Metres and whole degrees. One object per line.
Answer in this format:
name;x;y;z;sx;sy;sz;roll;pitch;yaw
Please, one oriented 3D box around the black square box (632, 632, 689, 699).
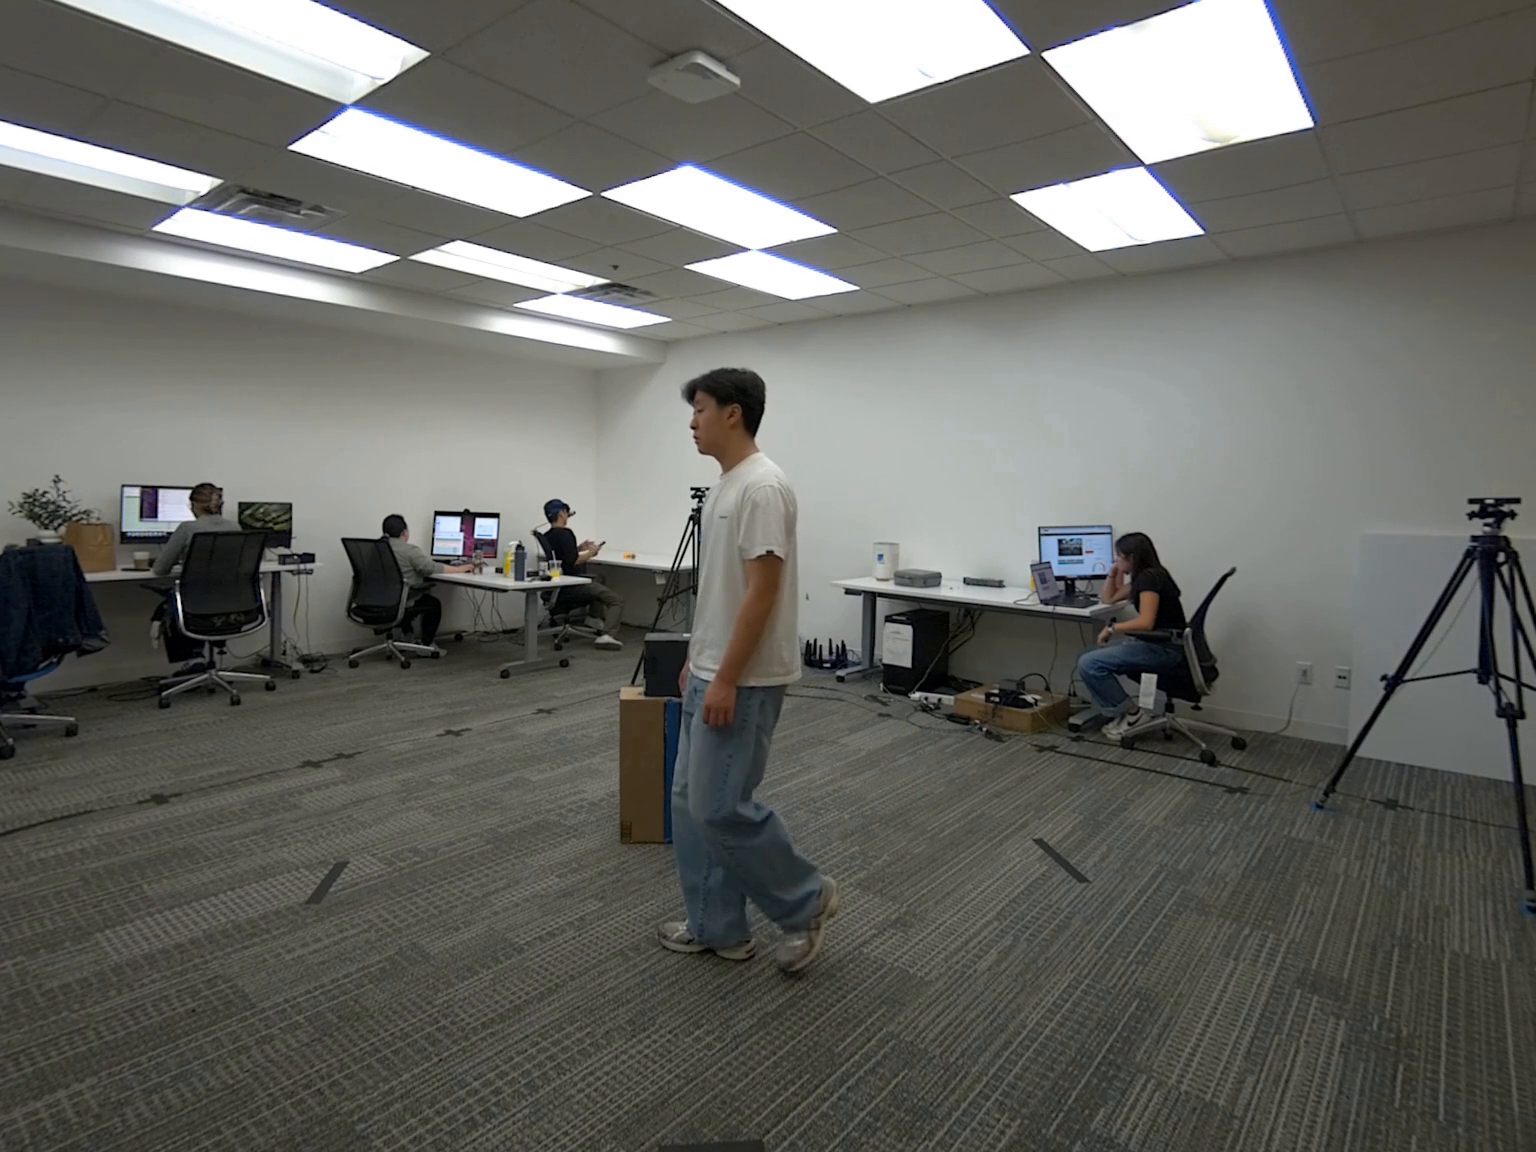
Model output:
black square box;-0.408;0.356;3.425;0.216;0.228;0.156;2;0;-3
